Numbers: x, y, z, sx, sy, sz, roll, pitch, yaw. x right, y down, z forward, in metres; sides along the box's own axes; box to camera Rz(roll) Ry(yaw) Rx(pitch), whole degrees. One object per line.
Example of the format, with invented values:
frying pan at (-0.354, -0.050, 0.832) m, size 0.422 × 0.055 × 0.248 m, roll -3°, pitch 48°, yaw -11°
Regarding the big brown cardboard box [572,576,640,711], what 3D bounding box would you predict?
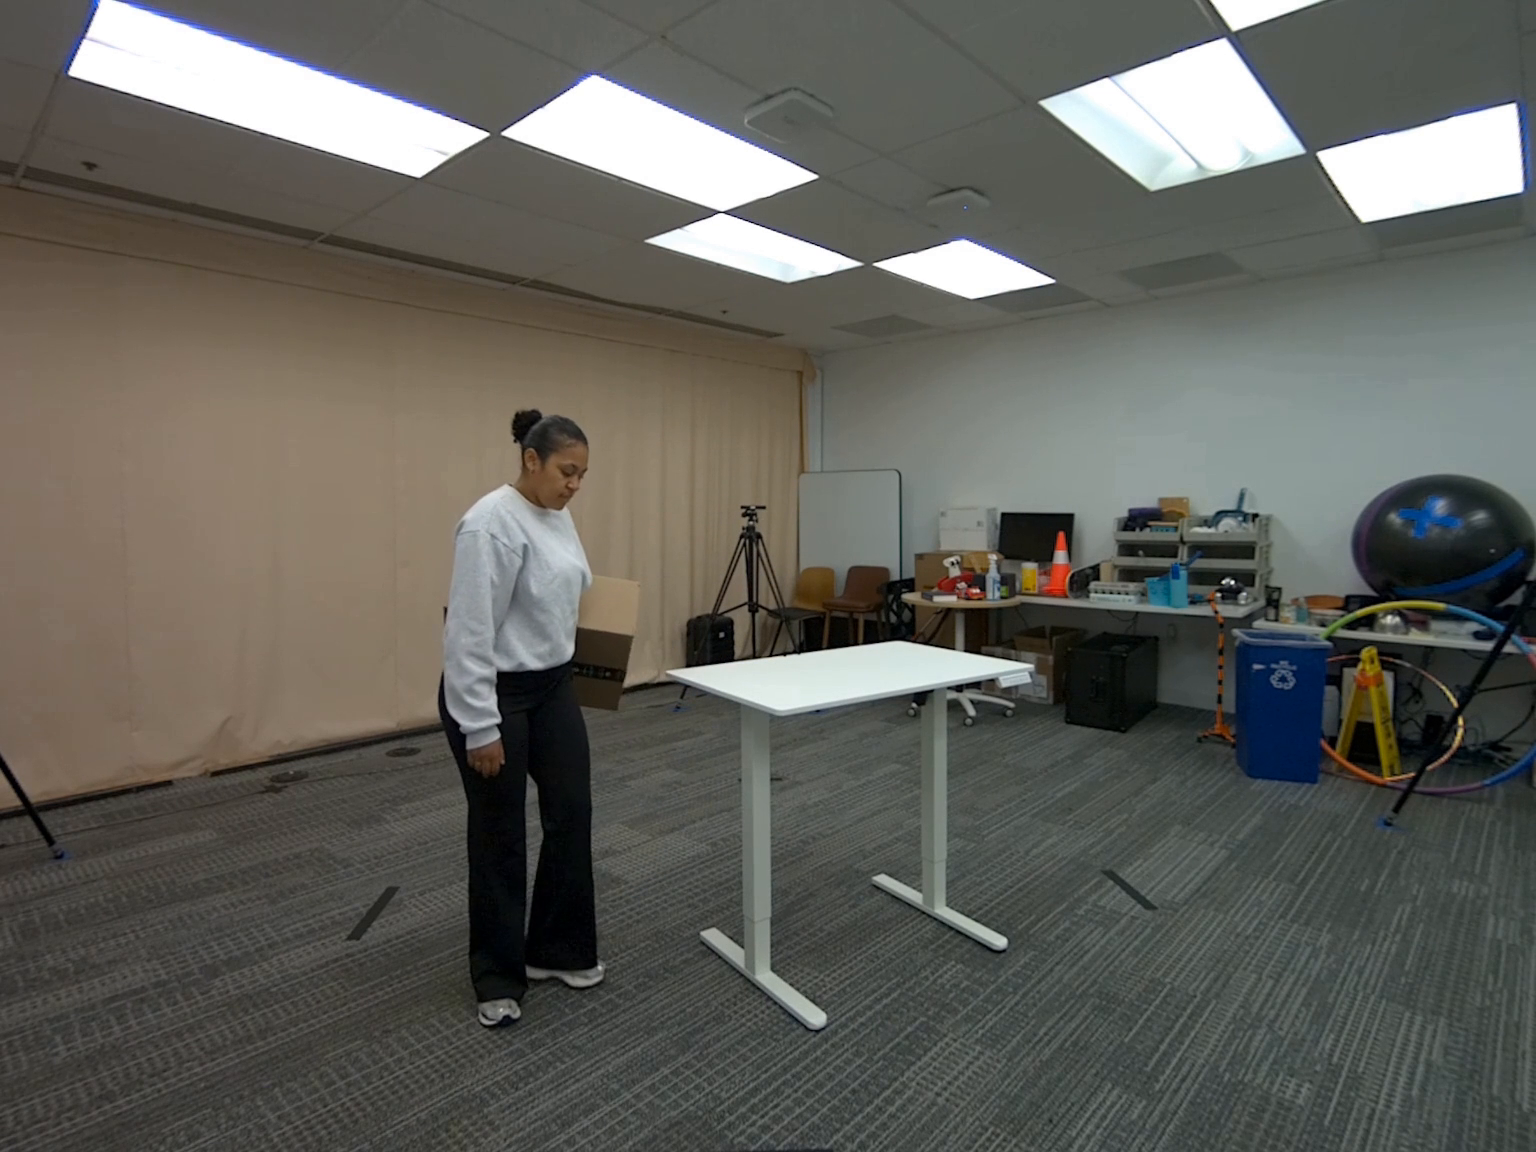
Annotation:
big brown cardboard box at (-0.721, 0.193, 2.710) m, size 0.582 × 0.415 × 0.237 m, roll 10°, pitch 46°, yaw -10°
